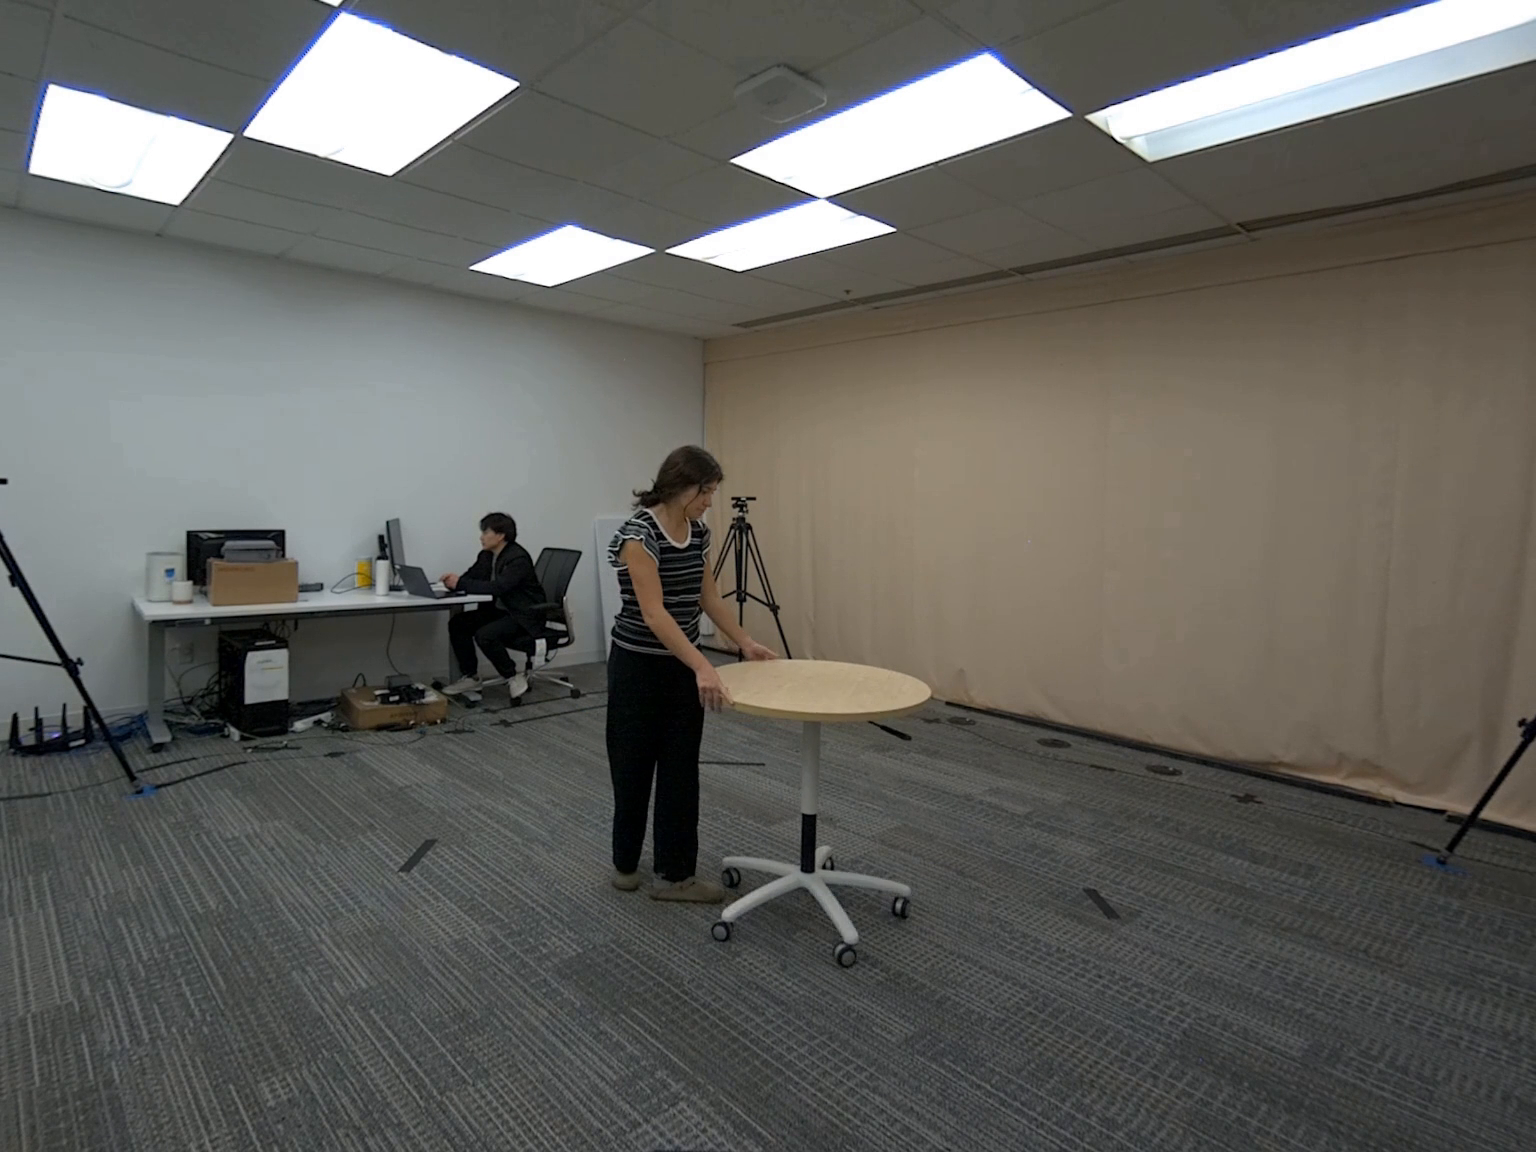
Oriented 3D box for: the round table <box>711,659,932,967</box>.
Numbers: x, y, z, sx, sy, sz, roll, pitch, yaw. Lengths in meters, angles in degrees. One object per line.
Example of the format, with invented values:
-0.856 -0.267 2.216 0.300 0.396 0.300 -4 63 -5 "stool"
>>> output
0.146 0.743 2.820 0.784 0.784 0.788 1 5 -1 "round table"
